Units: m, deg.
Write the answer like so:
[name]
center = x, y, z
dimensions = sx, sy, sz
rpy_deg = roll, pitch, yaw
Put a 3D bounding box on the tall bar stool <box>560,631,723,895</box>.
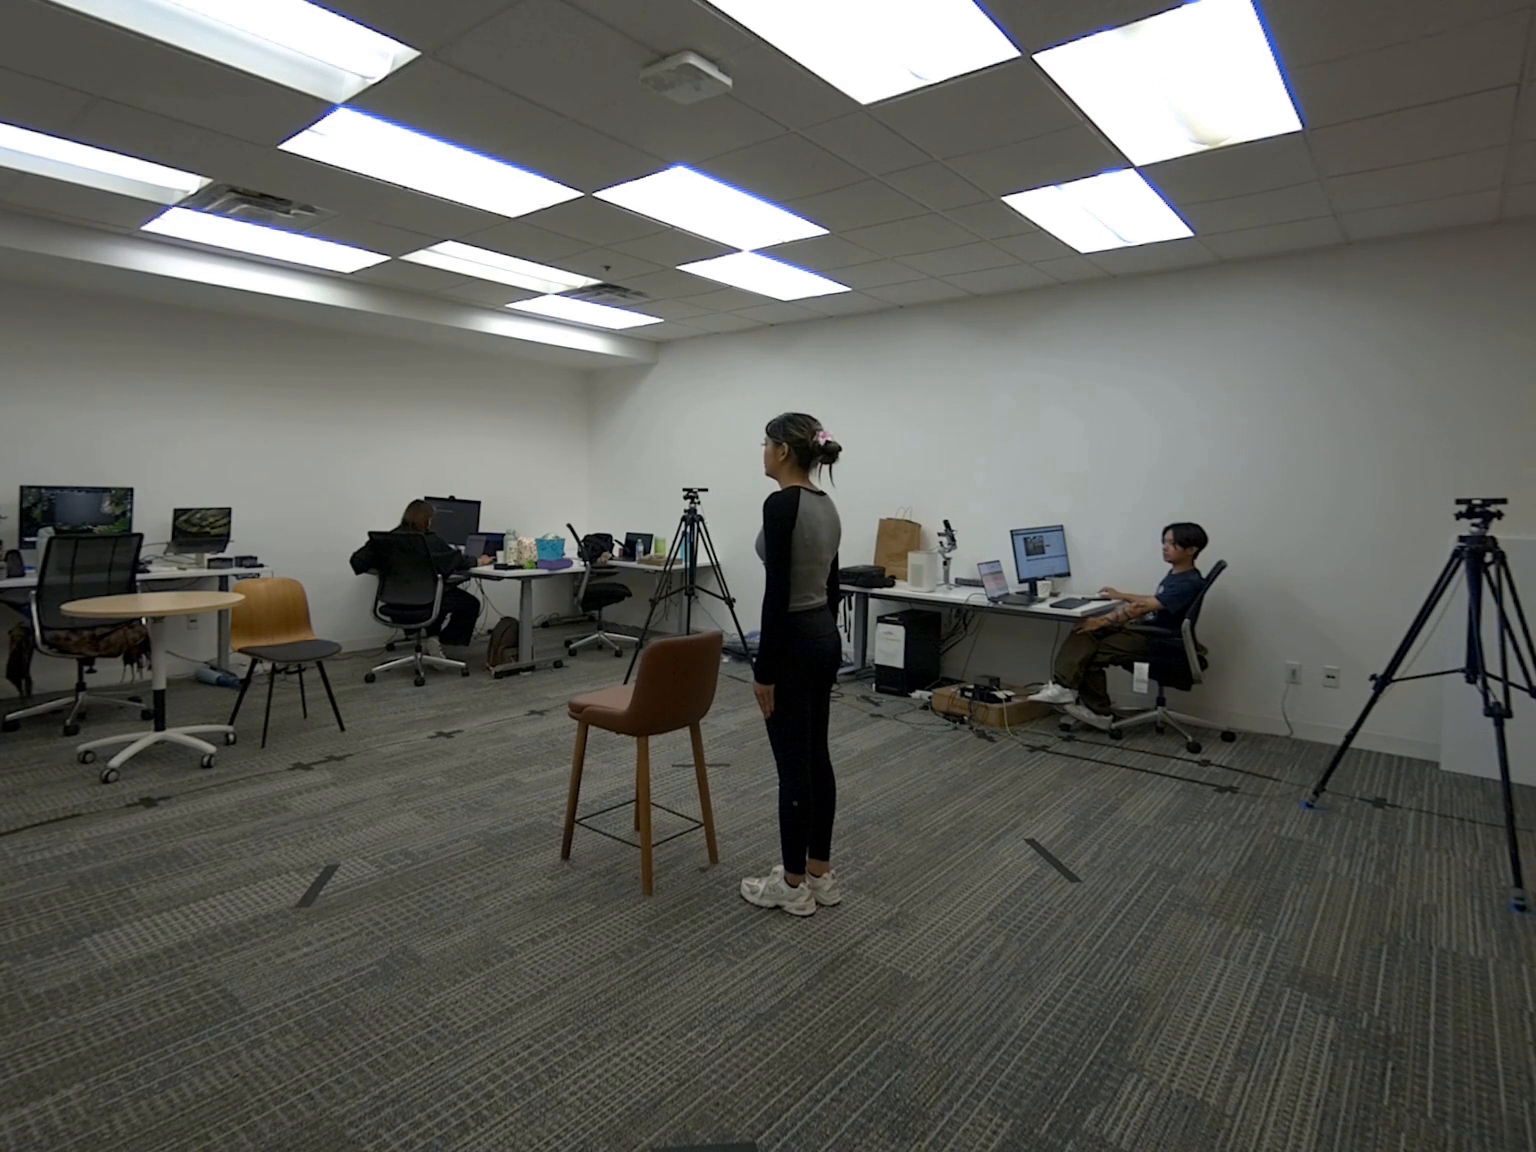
[tall bar stool]
center = -0.469, 0.625, 3.158
dimensions = 0.484, 0.887, 0.442
rpy_deg = 6, 5, 39
